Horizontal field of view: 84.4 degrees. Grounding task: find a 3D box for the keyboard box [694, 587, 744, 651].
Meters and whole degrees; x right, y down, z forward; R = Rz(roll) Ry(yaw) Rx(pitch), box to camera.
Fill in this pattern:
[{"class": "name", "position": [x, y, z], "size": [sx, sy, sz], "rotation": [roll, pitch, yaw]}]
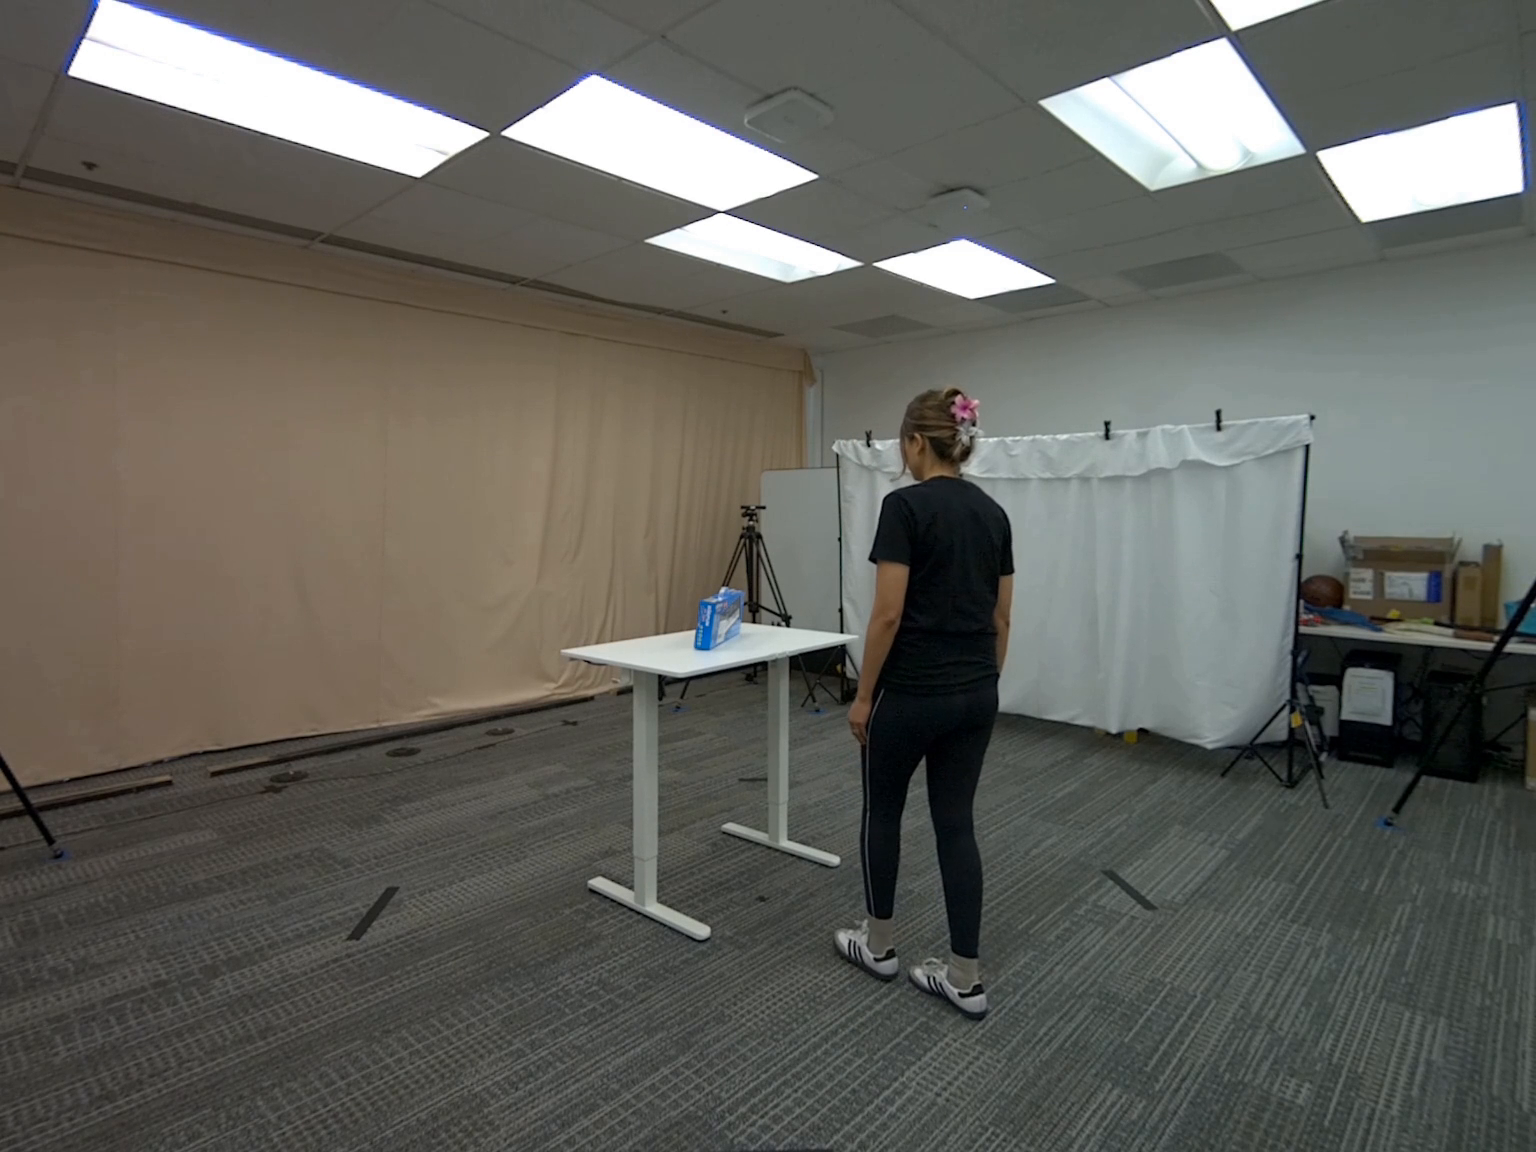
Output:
[{"class": "keyboard box", "position": [-0.174, 0.160, 3.166], "size": [0.060, 0.175, 0.431], "rotation": [8, 6, 12]}]
